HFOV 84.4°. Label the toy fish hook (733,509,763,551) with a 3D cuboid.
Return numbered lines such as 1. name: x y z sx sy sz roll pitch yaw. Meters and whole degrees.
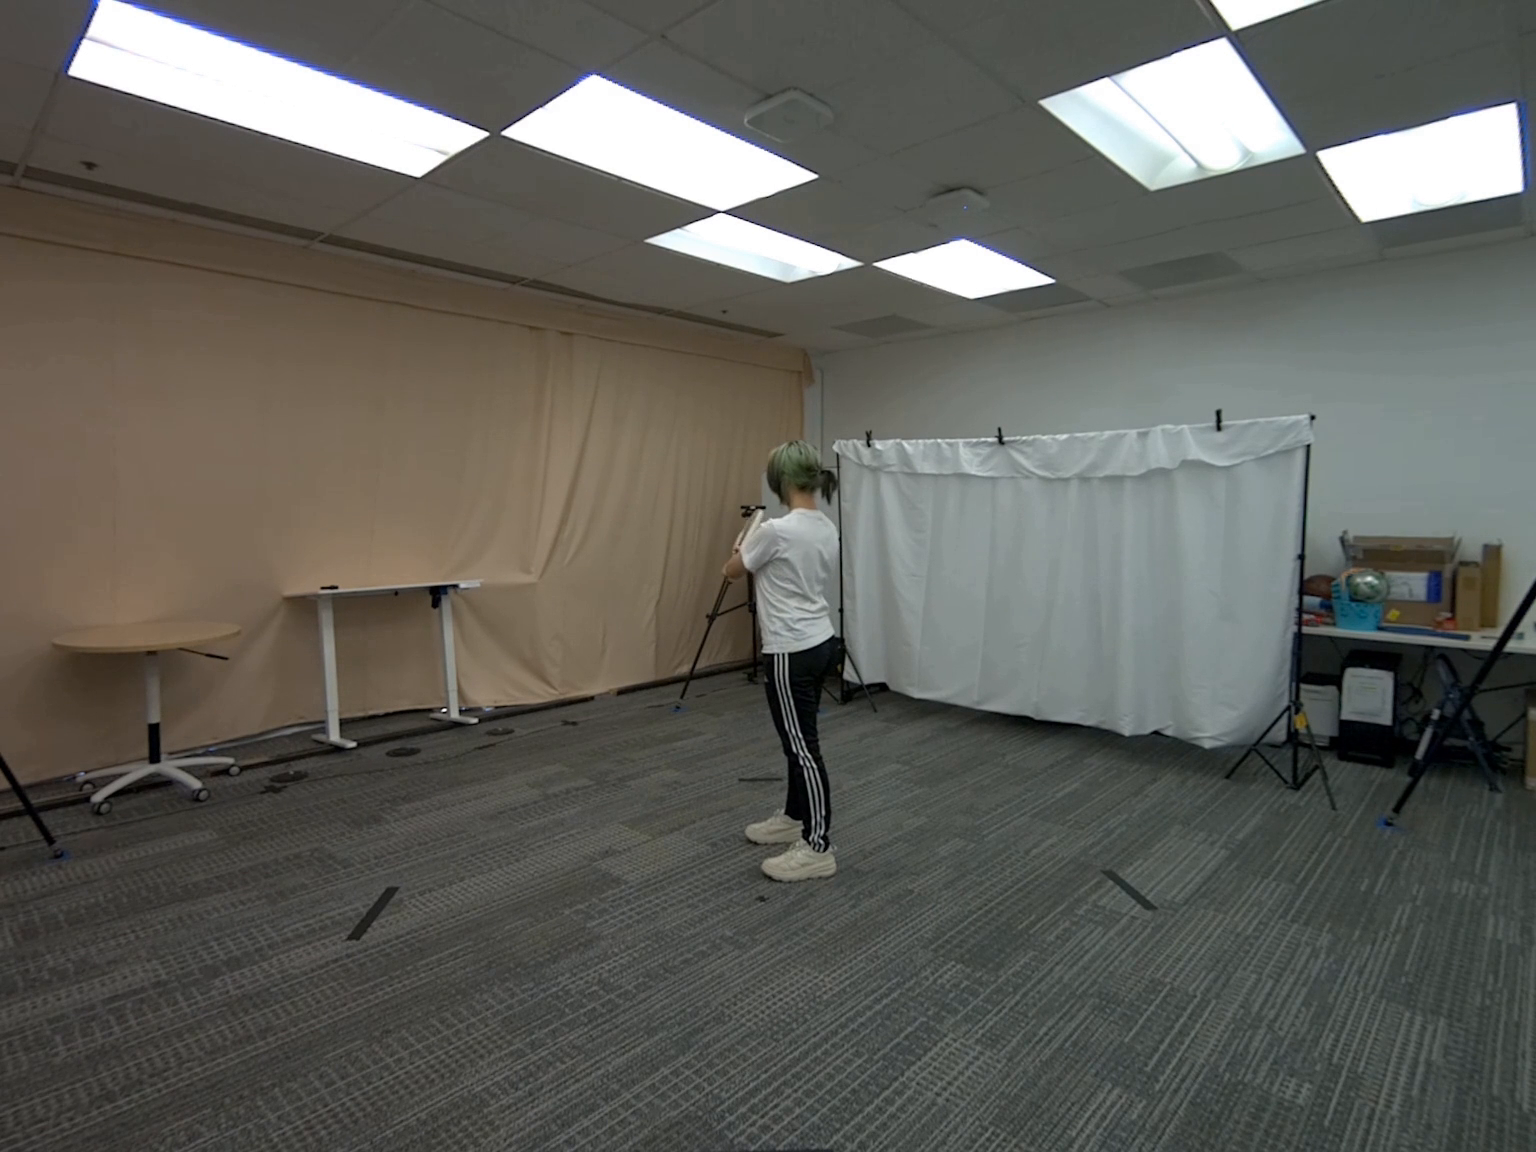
1. toy fish hook: -0.140 -0.103 3.797 0.048 0.509 0.225 28 -46 -9
